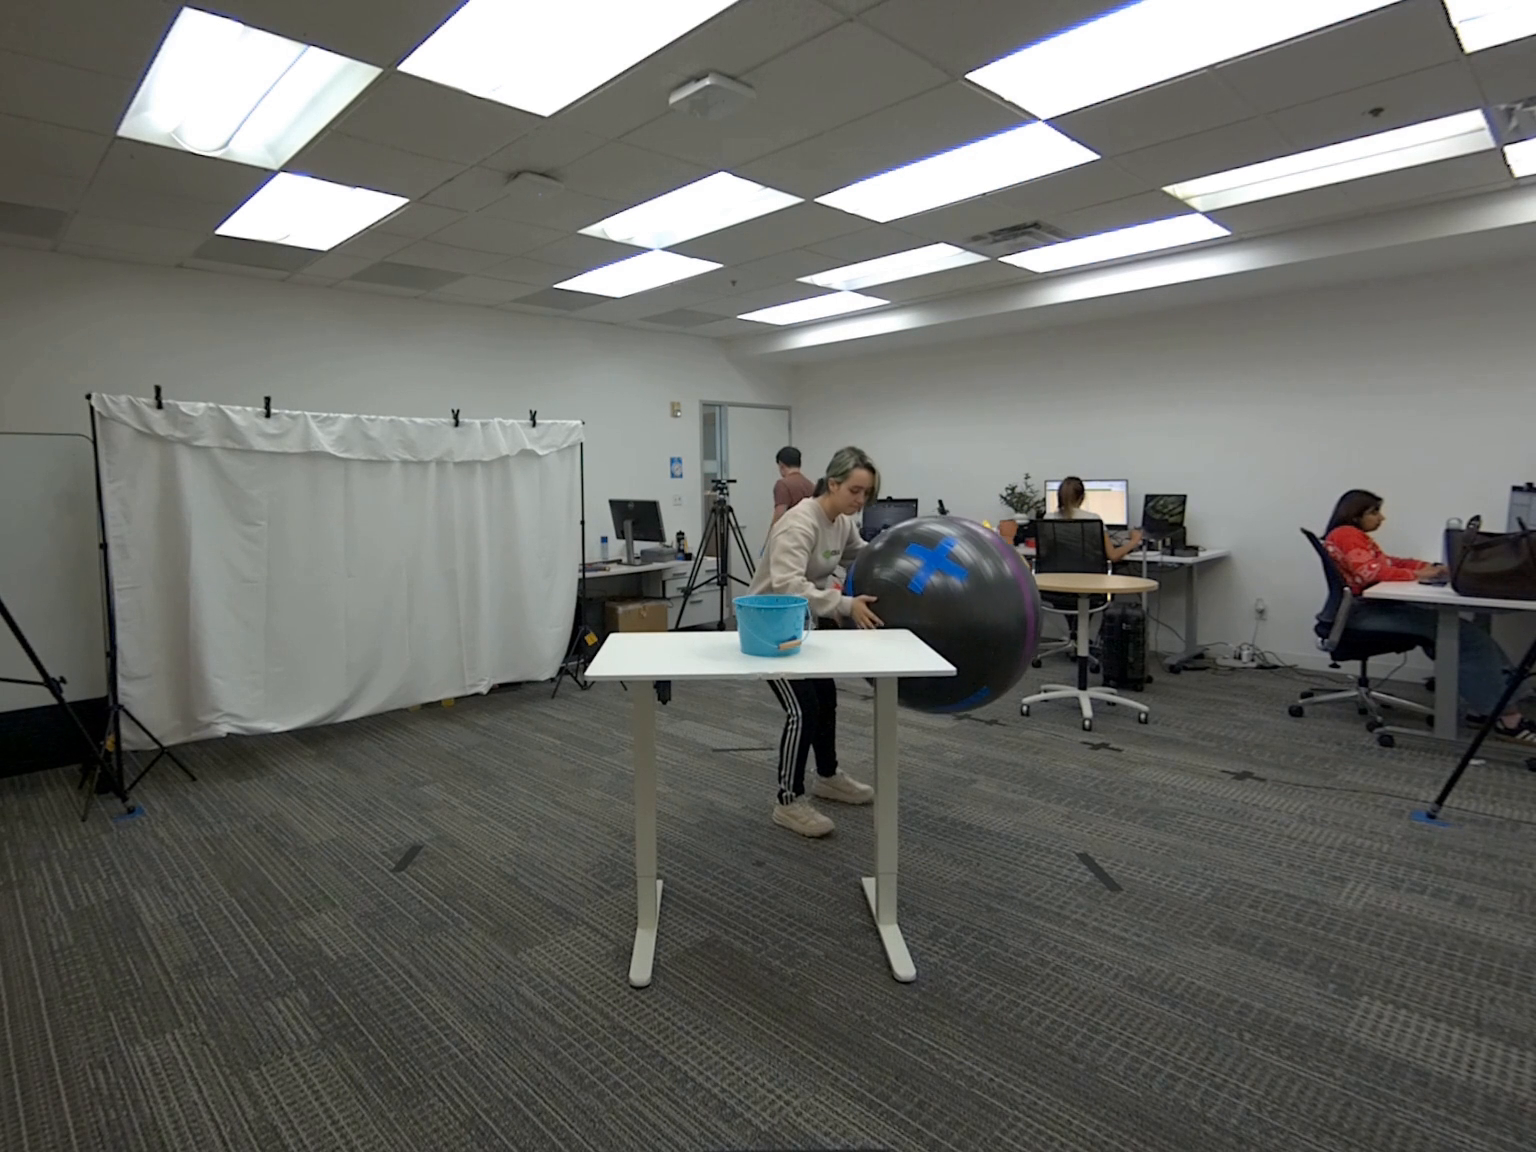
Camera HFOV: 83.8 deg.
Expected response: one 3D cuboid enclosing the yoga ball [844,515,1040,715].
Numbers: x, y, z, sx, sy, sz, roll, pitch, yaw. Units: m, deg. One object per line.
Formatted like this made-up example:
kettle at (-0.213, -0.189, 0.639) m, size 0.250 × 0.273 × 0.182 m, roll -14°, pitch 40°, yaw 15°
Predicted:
yoga ball at (0.666, 0.147, 3.281) m, size 0.757 × 0.755 × 0.762 m, roll -1°, pitch 5°, yaw -2°
